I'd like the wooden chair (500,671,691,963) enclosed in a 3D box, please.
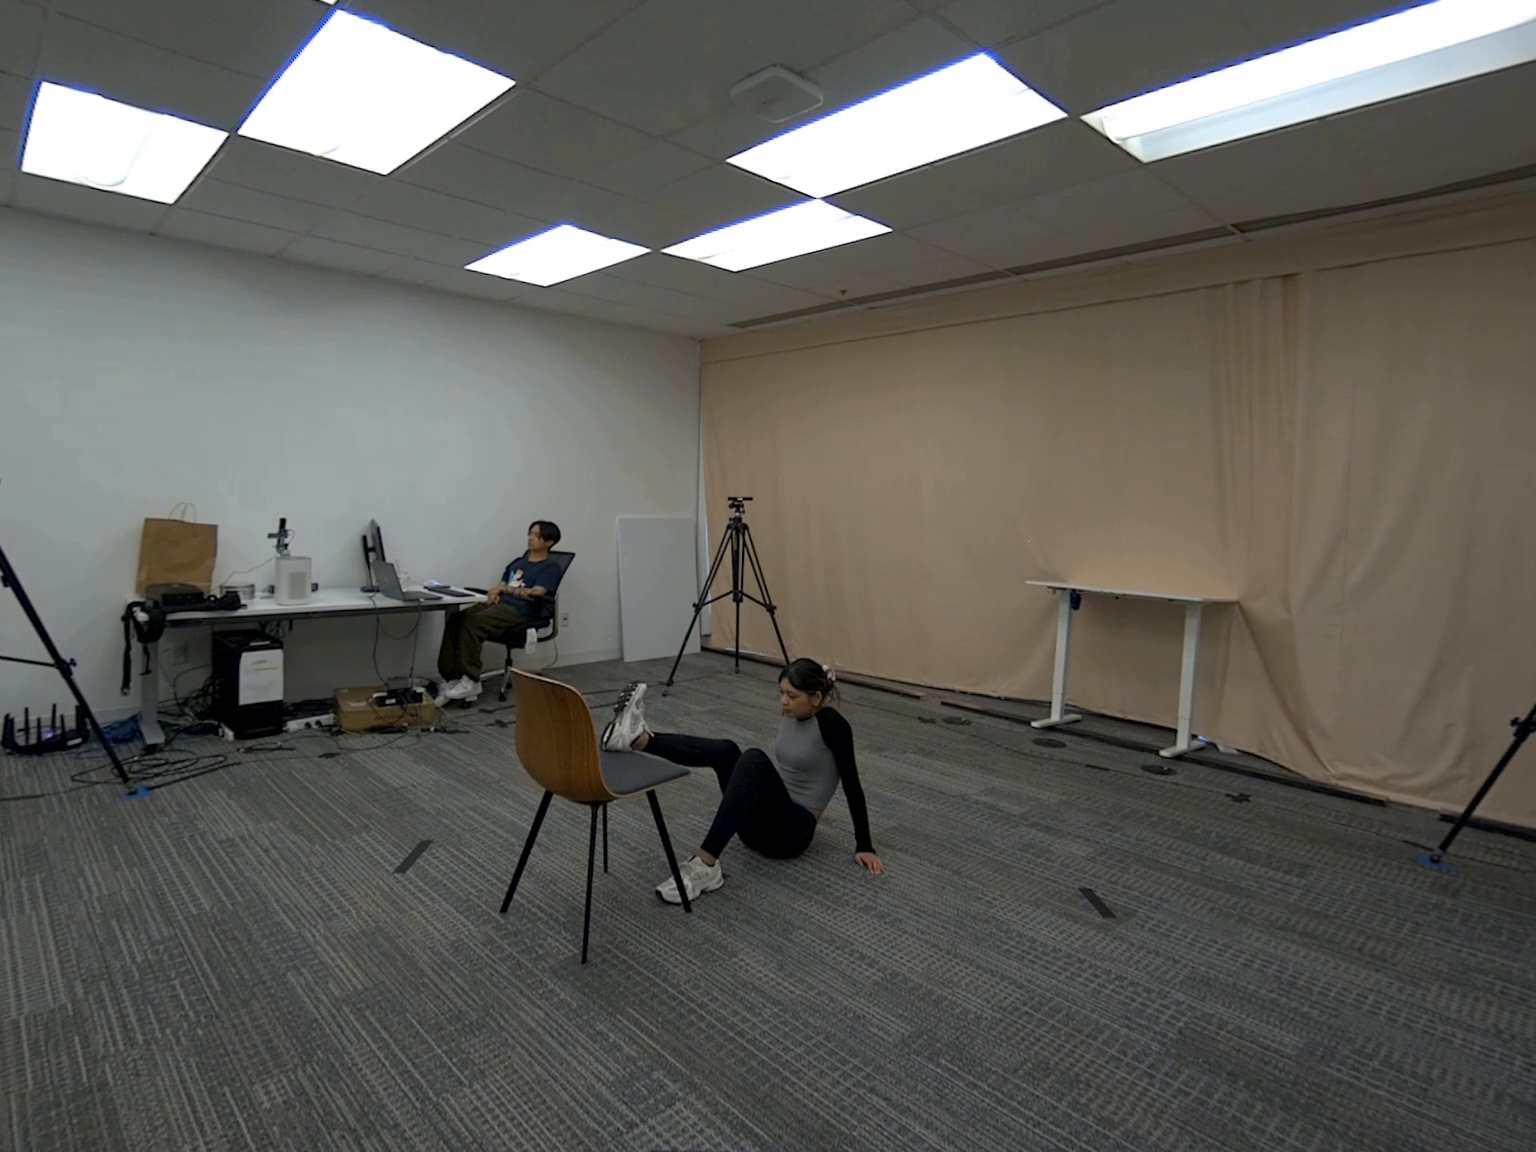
[{"bbox_3d":[-0.561,0.699,2.784,0.490,0.873,0.512,4,9,41],"label":"wooden chair"}]
